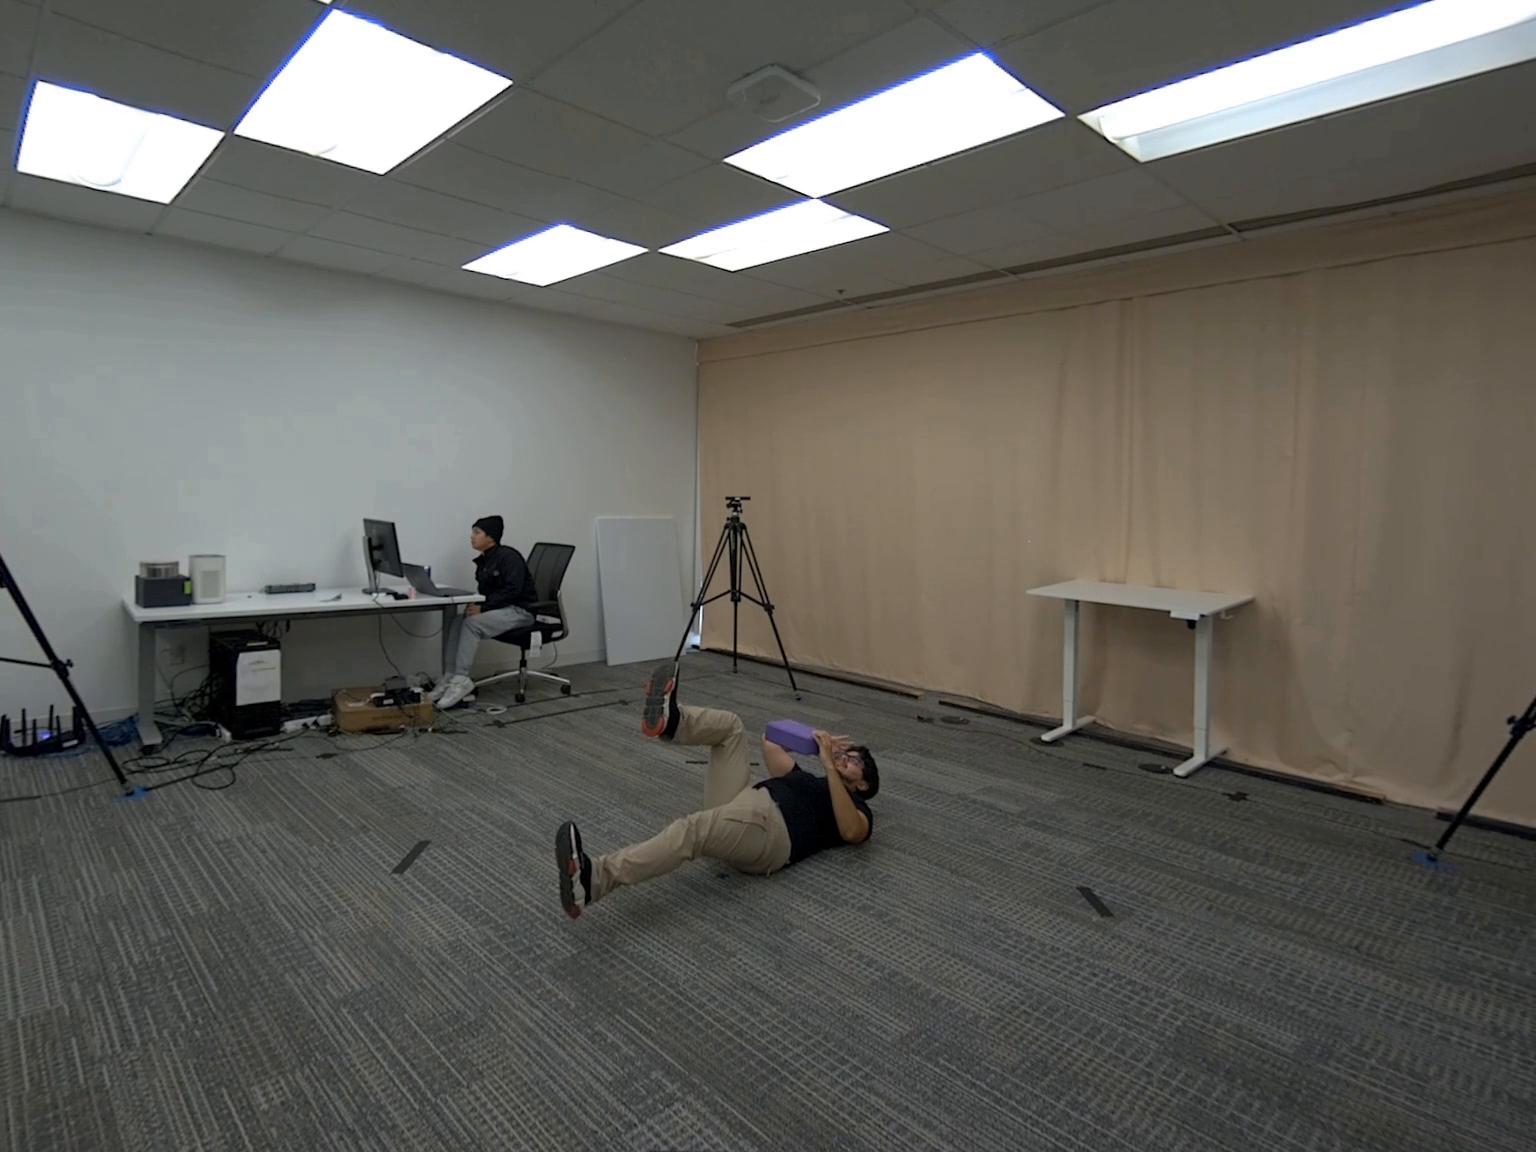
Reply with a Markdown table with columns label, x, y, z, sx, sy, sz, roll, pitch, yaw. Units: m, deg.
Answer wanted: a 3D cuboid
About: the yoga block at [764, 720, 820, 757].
| label | x | y | z | sx | sy | sz | roll | pitch | yaw |
| --- | --- | --- | --- | --- | --- | --- | --- | --- | --- |
| yoga block | 0.097 | 0.651 | 3.420 | 0.236 | 0.076 | 0.145 | 12 | 8 | 40 |
